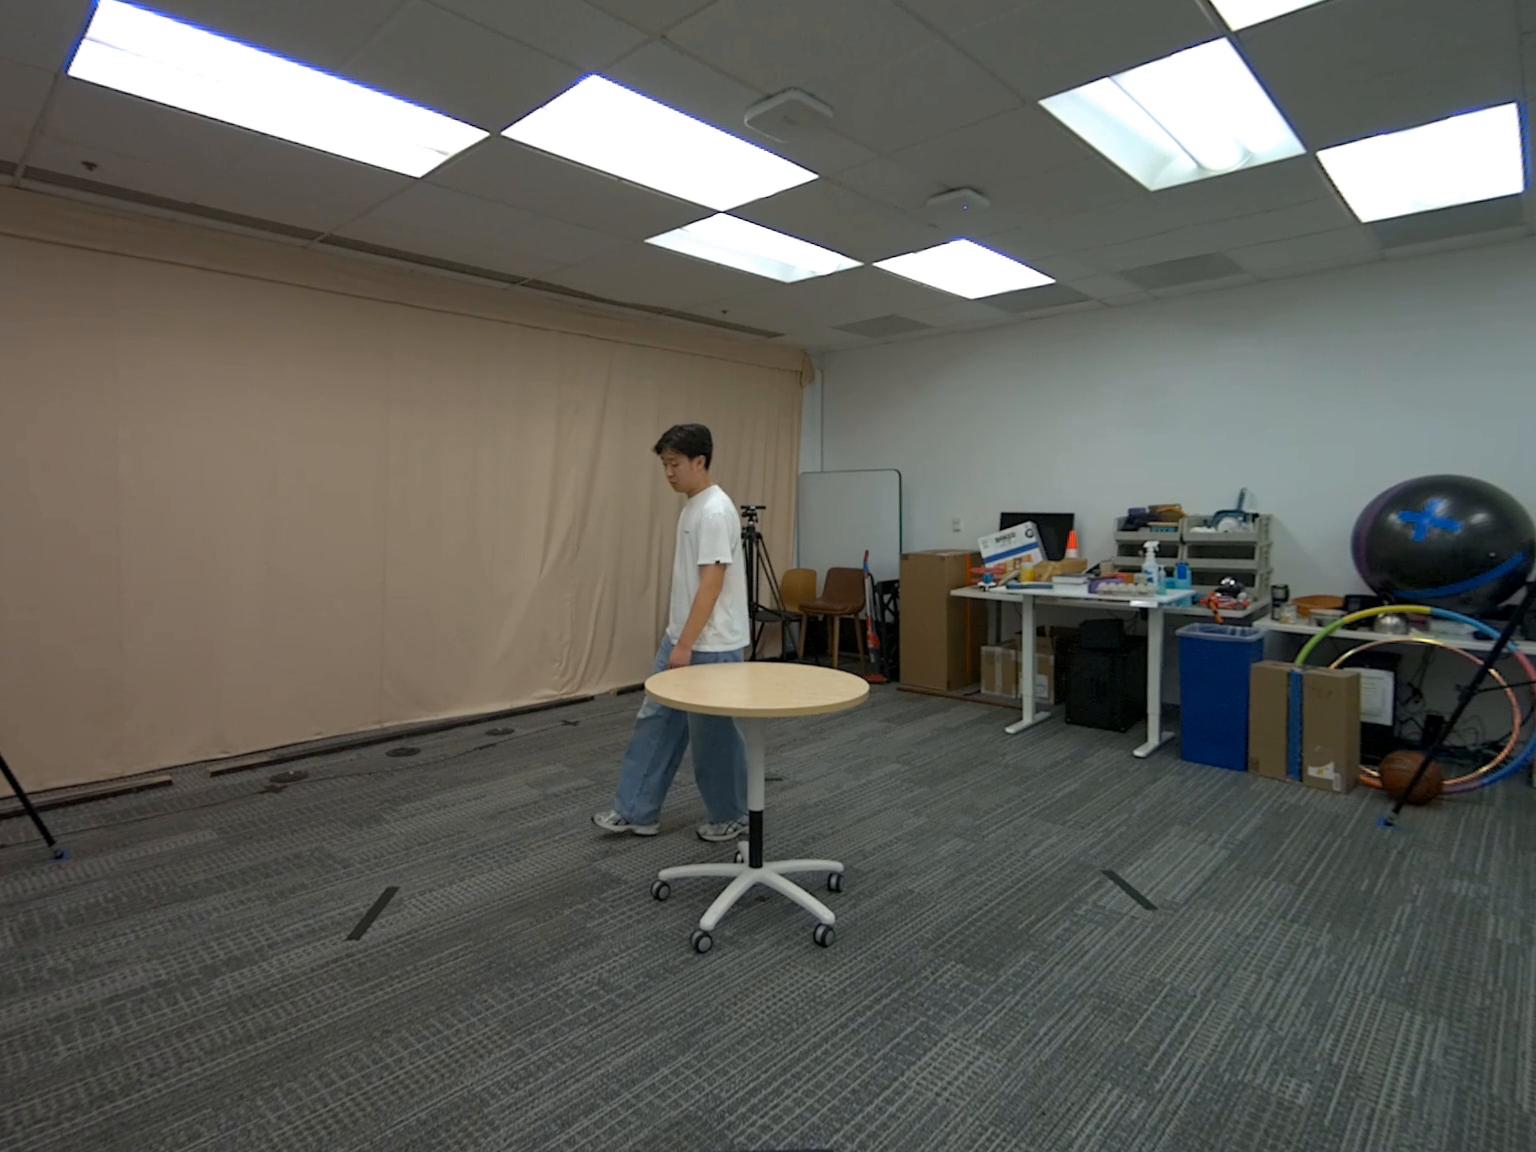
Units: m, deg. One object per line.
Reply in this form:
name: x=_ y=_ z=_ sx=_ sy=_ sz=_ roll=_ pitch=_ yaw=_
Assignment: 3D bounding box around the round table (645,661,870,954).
round table: x=-0.035 y=0.759 z=2.918 sx=0.763 sy=0.792 sz=0.767 roll=0 pitch=4 yaw=-2
